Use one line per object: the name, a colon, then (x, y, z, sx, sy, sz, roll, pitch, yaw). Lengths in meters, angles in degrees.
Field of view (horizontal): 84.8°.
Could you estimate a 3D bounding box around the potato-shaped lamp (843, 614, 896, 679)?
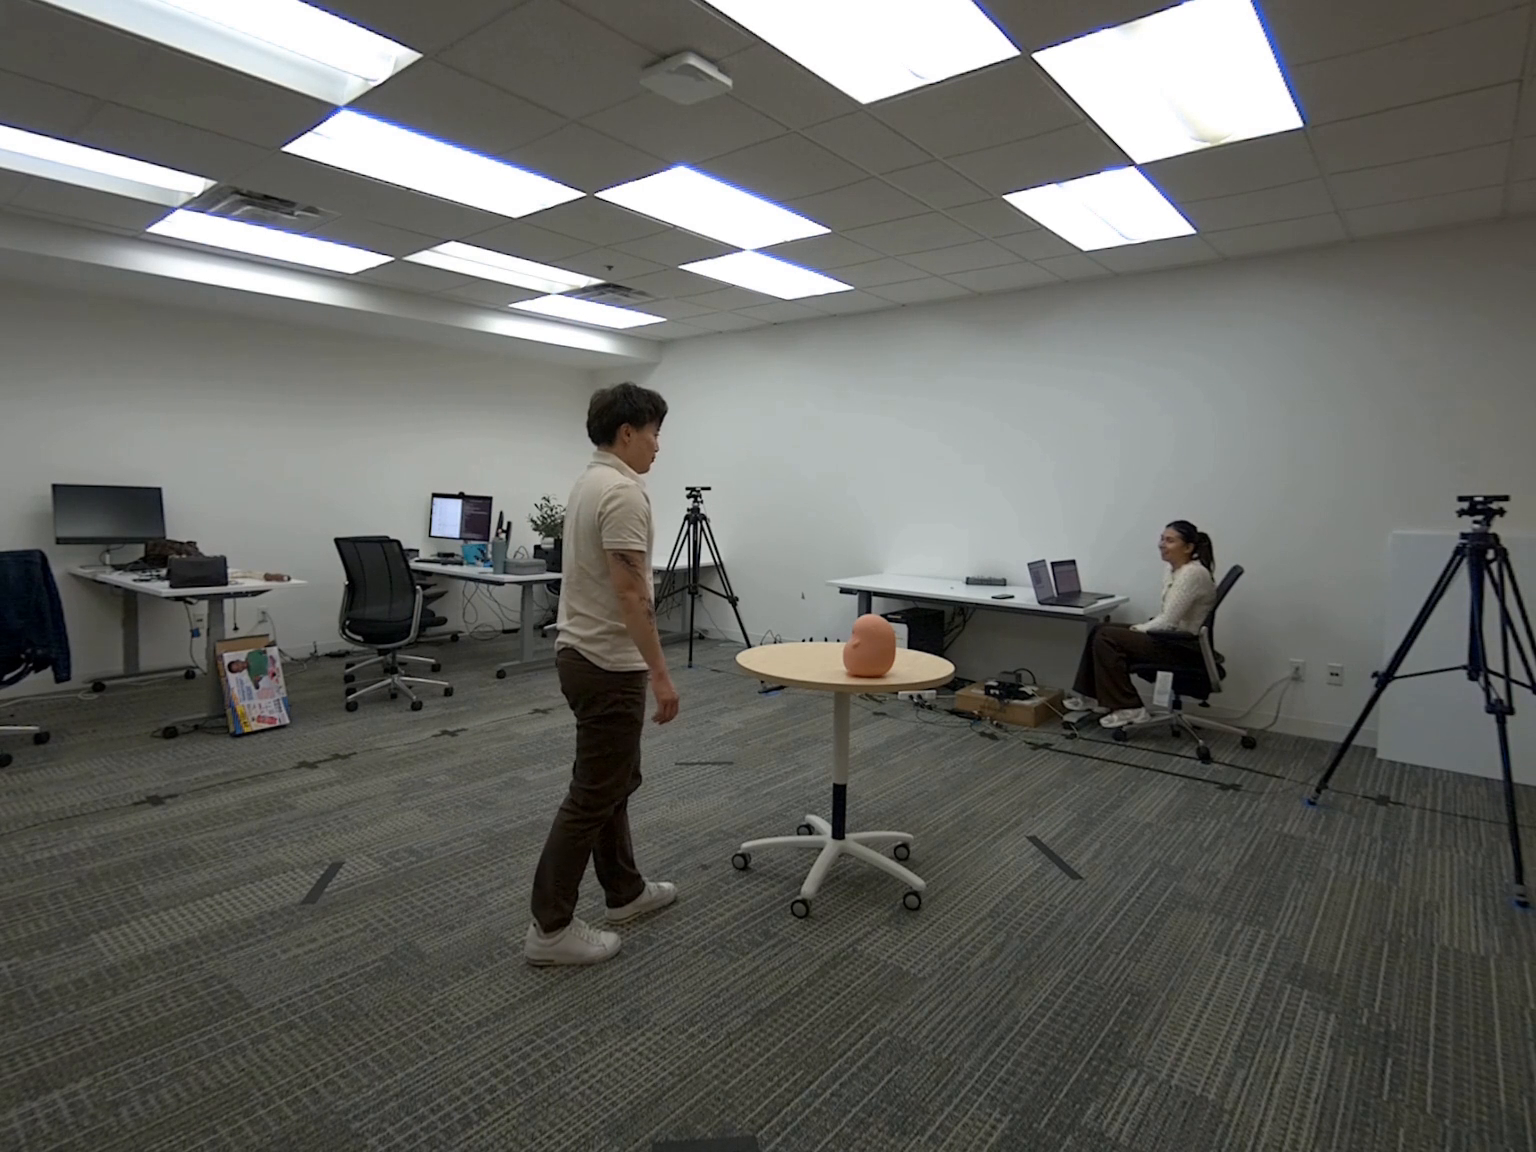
potato-shaped lamp: (0.326, 0.225, 2.795, 0.172, 0.196, 0.165, 2, 8, 2)
